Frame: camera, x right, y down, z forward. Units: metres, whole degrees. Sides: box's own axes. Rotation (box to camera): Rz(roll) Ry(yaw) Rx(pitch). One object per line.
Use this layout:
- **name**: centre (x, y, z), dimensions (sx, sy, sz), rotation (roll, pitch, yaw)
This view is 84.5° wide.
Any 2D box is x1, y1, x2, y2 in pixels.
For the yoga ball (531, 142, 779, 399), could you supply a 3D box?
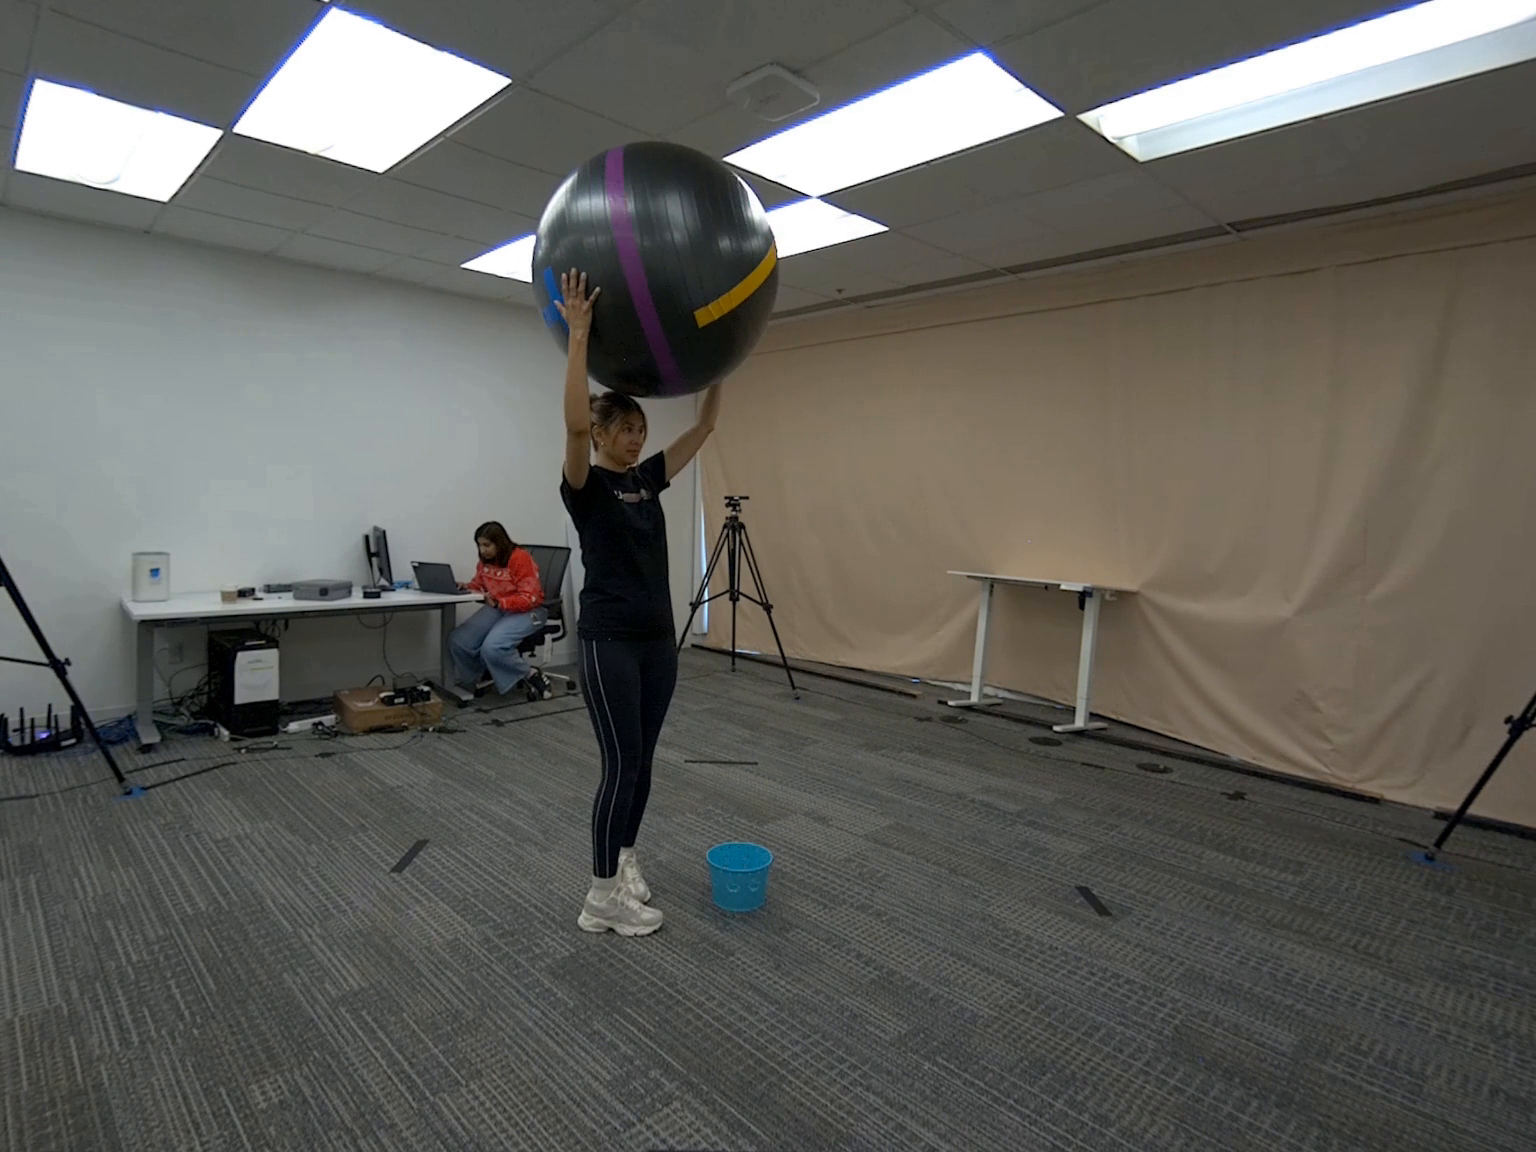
- **yoga ball**: centre (-0.353, -0.927, 2.609), dimensions (0.757, 0.756, 0.761), rotation (1, 4, -1)
